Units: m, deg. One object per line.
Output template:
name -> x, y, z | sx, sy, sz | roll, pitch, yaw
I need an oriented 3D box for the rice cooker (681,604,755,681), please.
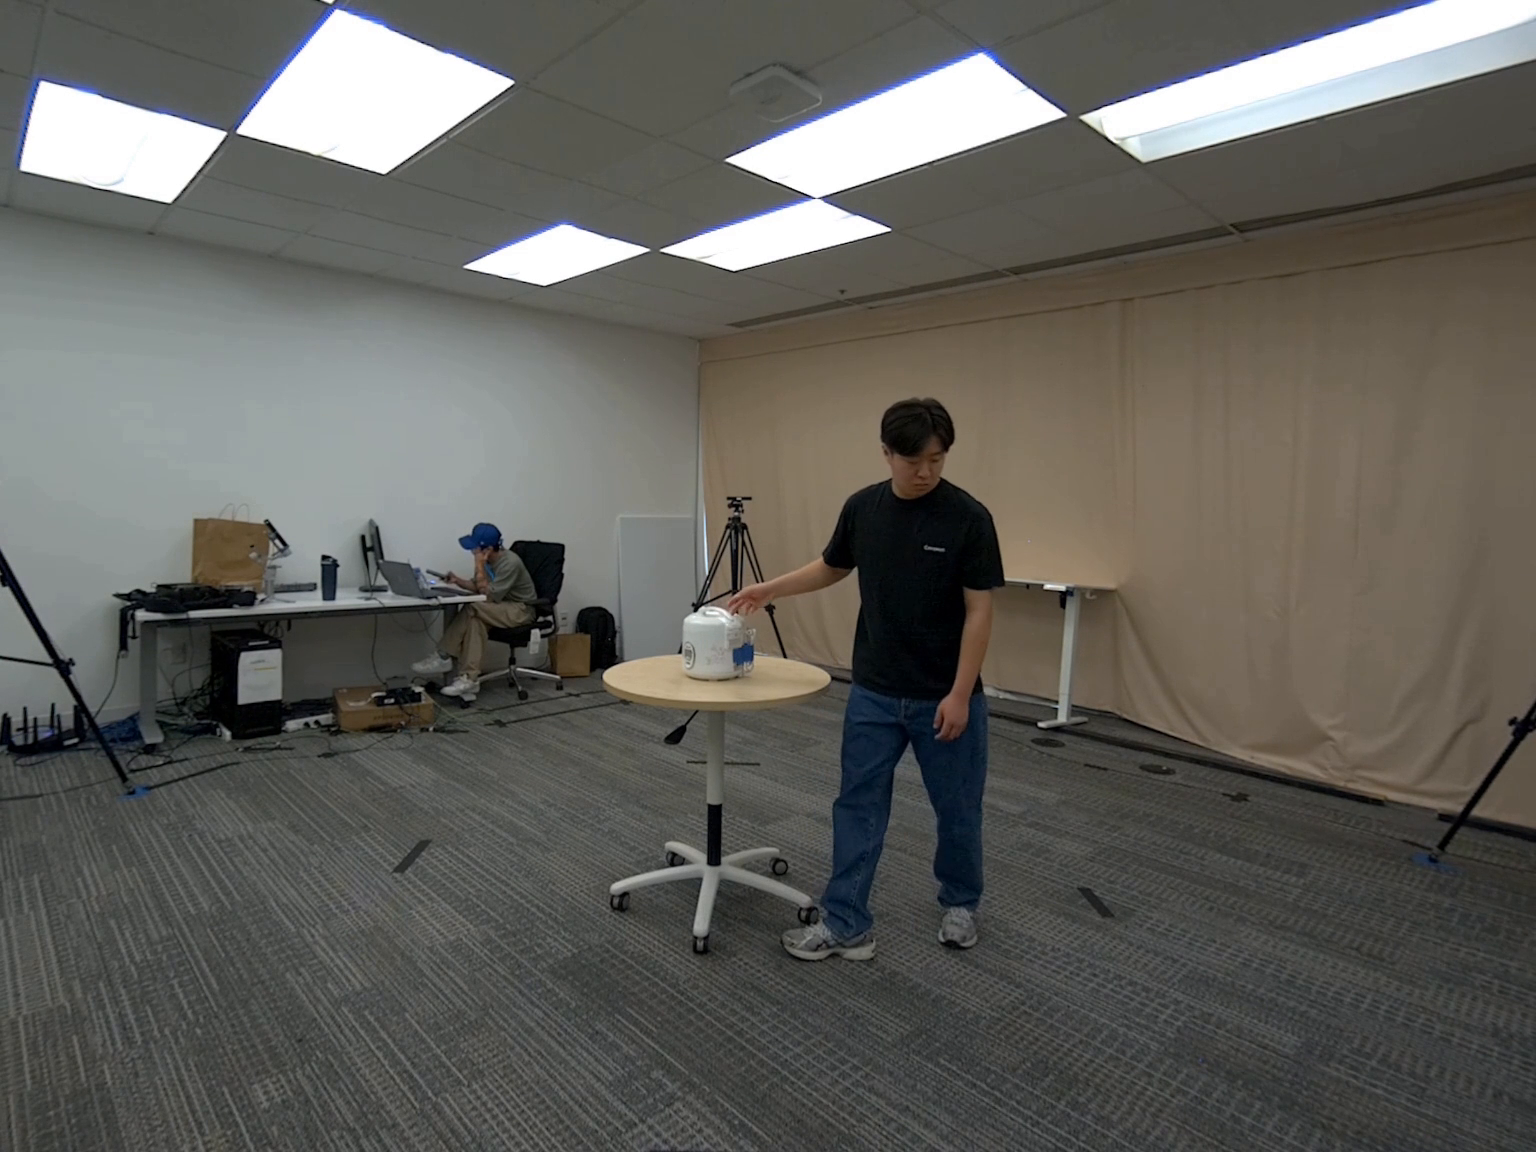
rice cooker -> -0.184, 0.221, 2.819 | 0.212, 0.232, 0.226 | -1, 4, -42
